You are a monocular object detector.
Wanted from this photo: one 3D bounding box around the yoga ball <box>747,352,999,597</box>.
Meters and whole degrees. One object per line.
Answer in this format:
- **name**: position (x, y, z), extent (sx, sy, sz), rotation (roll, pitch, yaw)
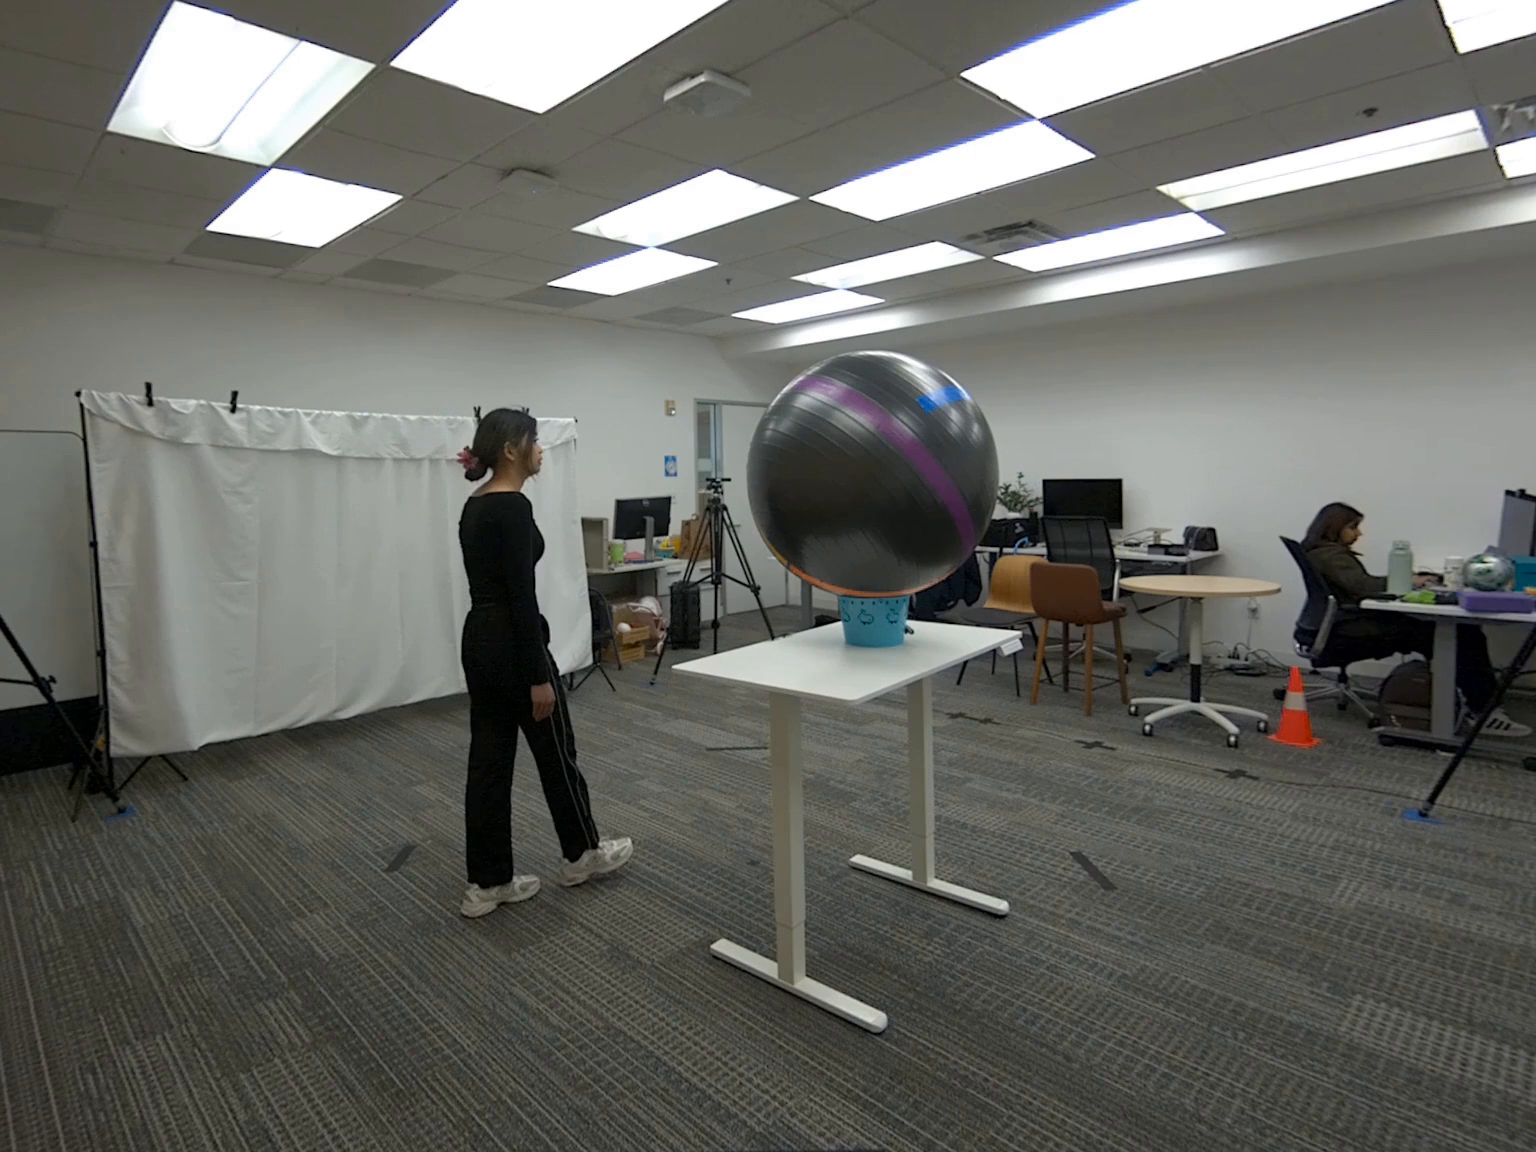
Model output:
- **yoga ball**: position (0.330, -0.303, 2.625), extent (0.757, 0.755, 0.762), rotation (-1, 5, -2)
